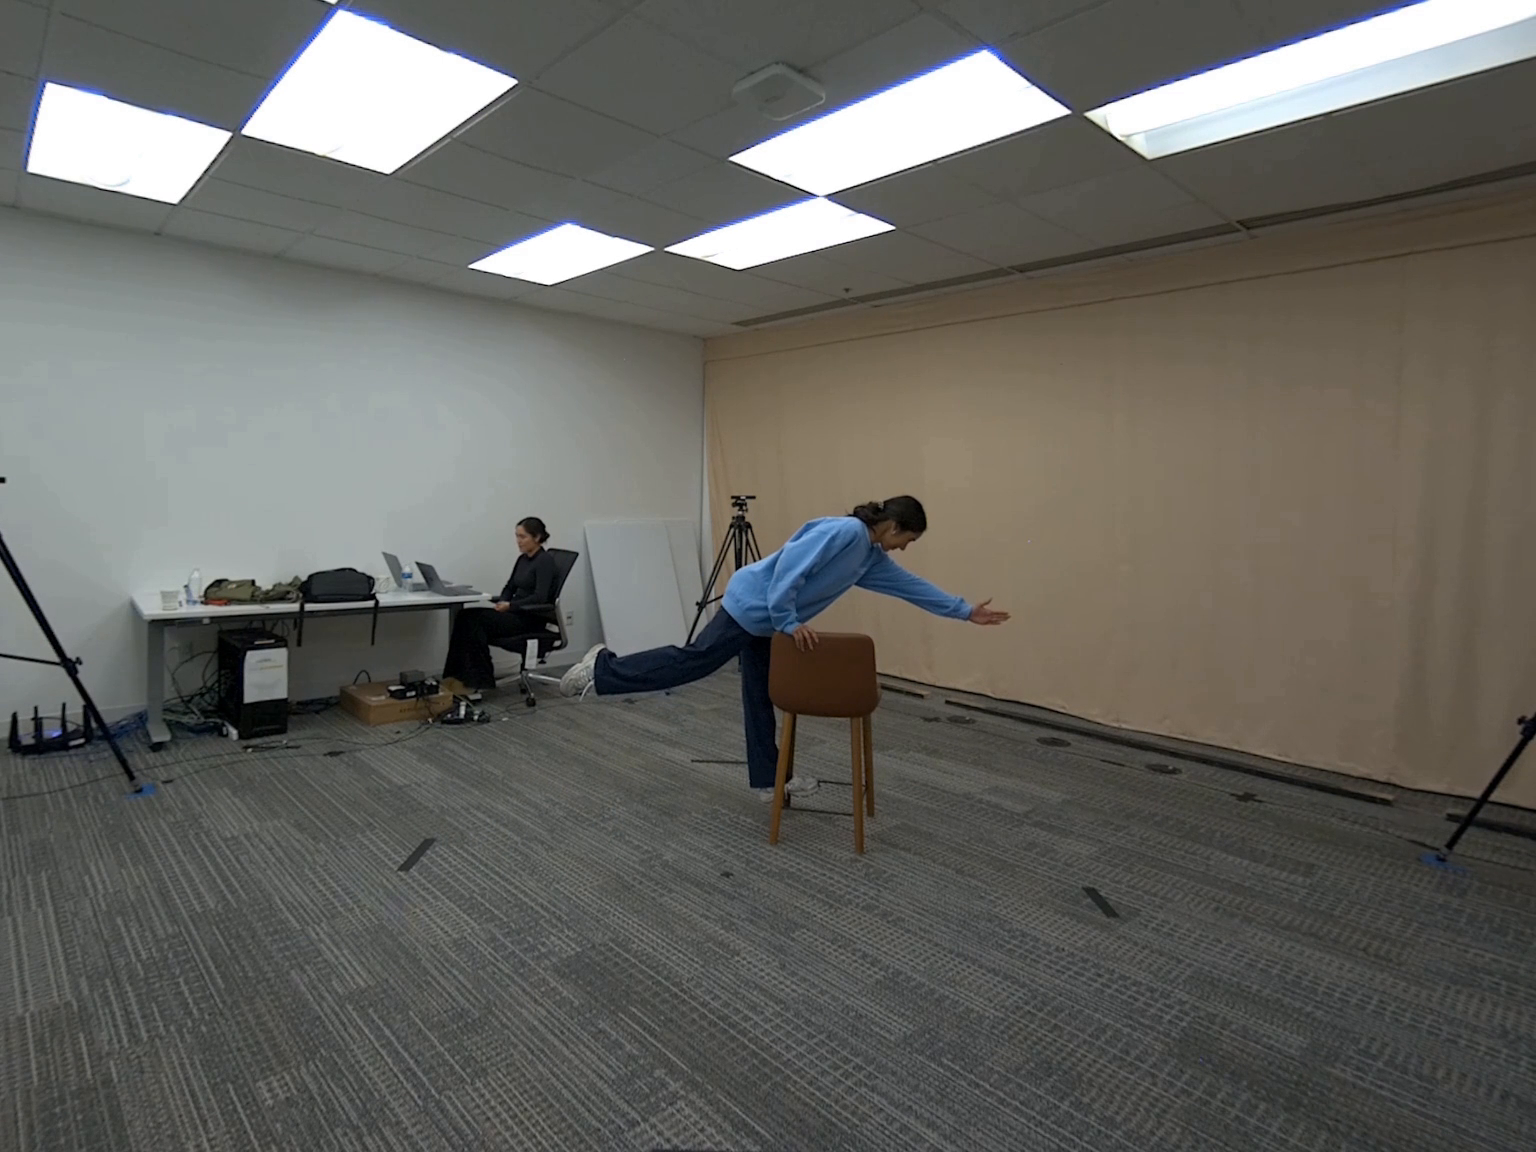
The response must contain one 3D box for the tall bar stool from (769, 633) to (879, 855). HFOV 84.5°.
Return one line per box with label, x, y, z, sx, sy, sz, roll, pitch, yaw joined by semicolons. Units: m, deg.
tall bar stool;0.239;0.638;3.543;0.462;0.887;0.464;2;5;13
